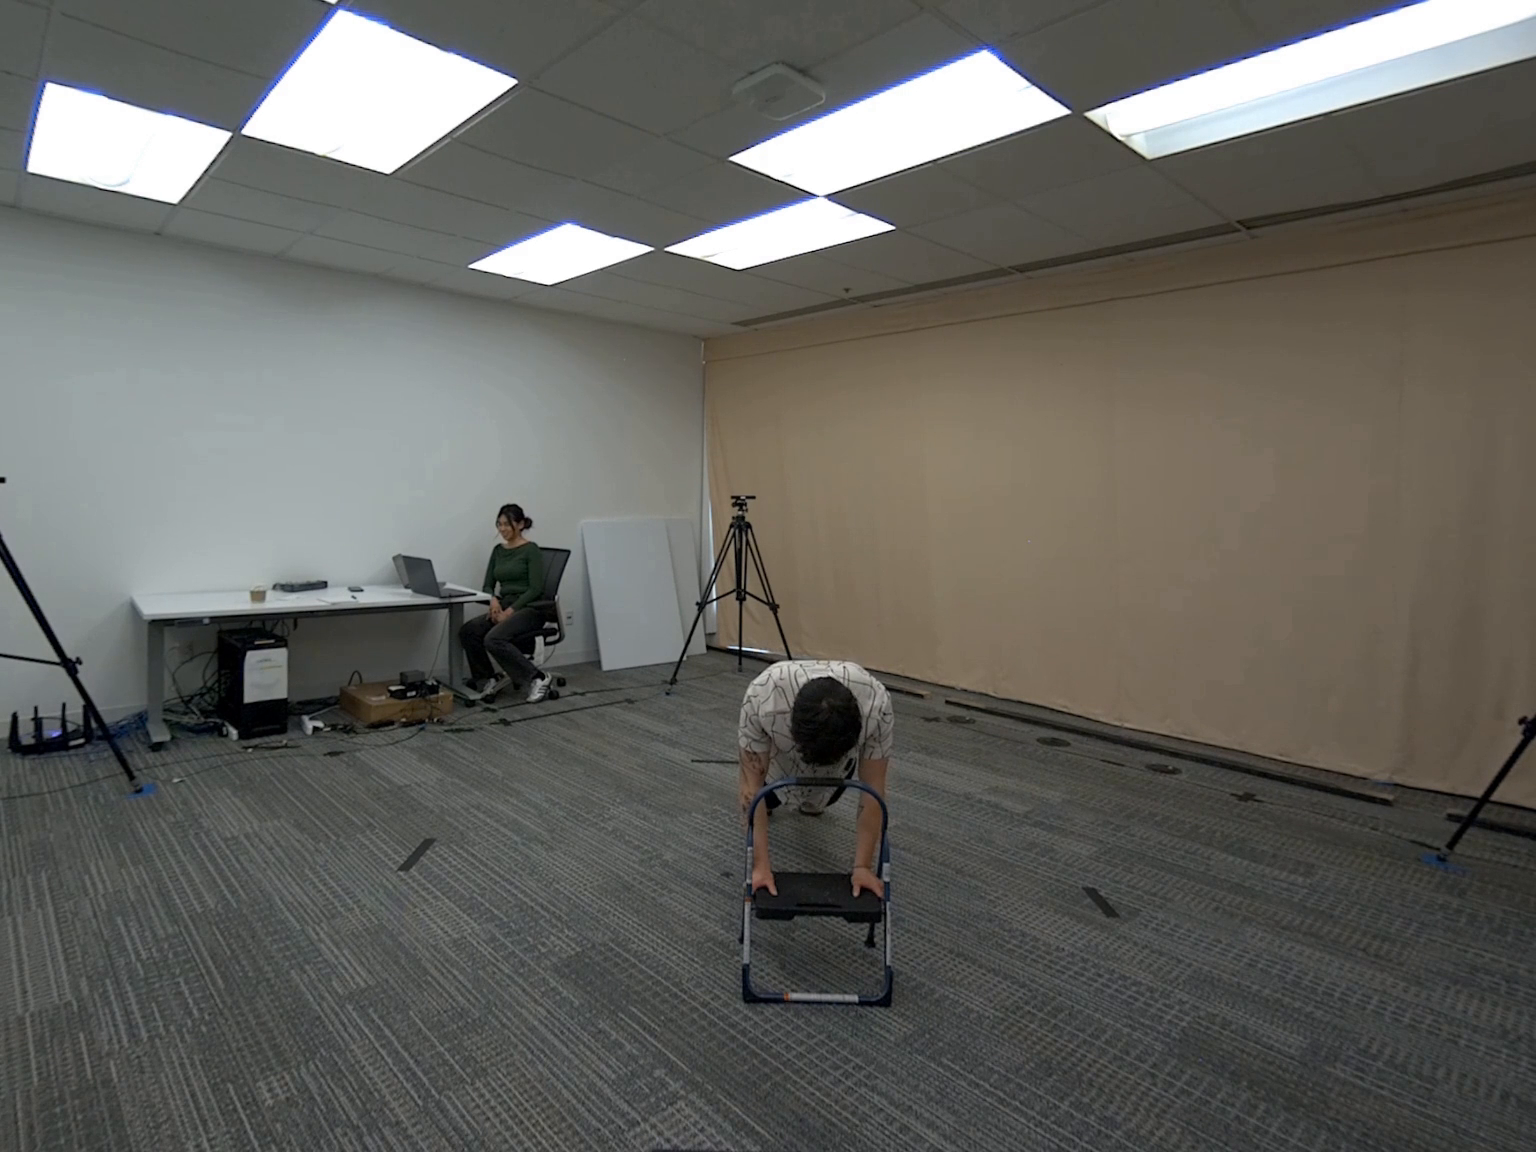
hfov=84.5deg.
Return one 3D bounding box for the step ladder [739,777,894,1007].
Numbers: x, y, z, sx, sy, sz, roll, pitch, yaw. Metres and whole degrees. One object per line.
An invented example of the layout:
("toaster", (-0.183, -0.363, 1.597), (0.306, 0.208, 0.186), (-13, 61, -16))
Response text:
("step ladder", (0.132, 0.871, 2.465), (0.430, 0.605, 0.350), (1, 3, -1))
